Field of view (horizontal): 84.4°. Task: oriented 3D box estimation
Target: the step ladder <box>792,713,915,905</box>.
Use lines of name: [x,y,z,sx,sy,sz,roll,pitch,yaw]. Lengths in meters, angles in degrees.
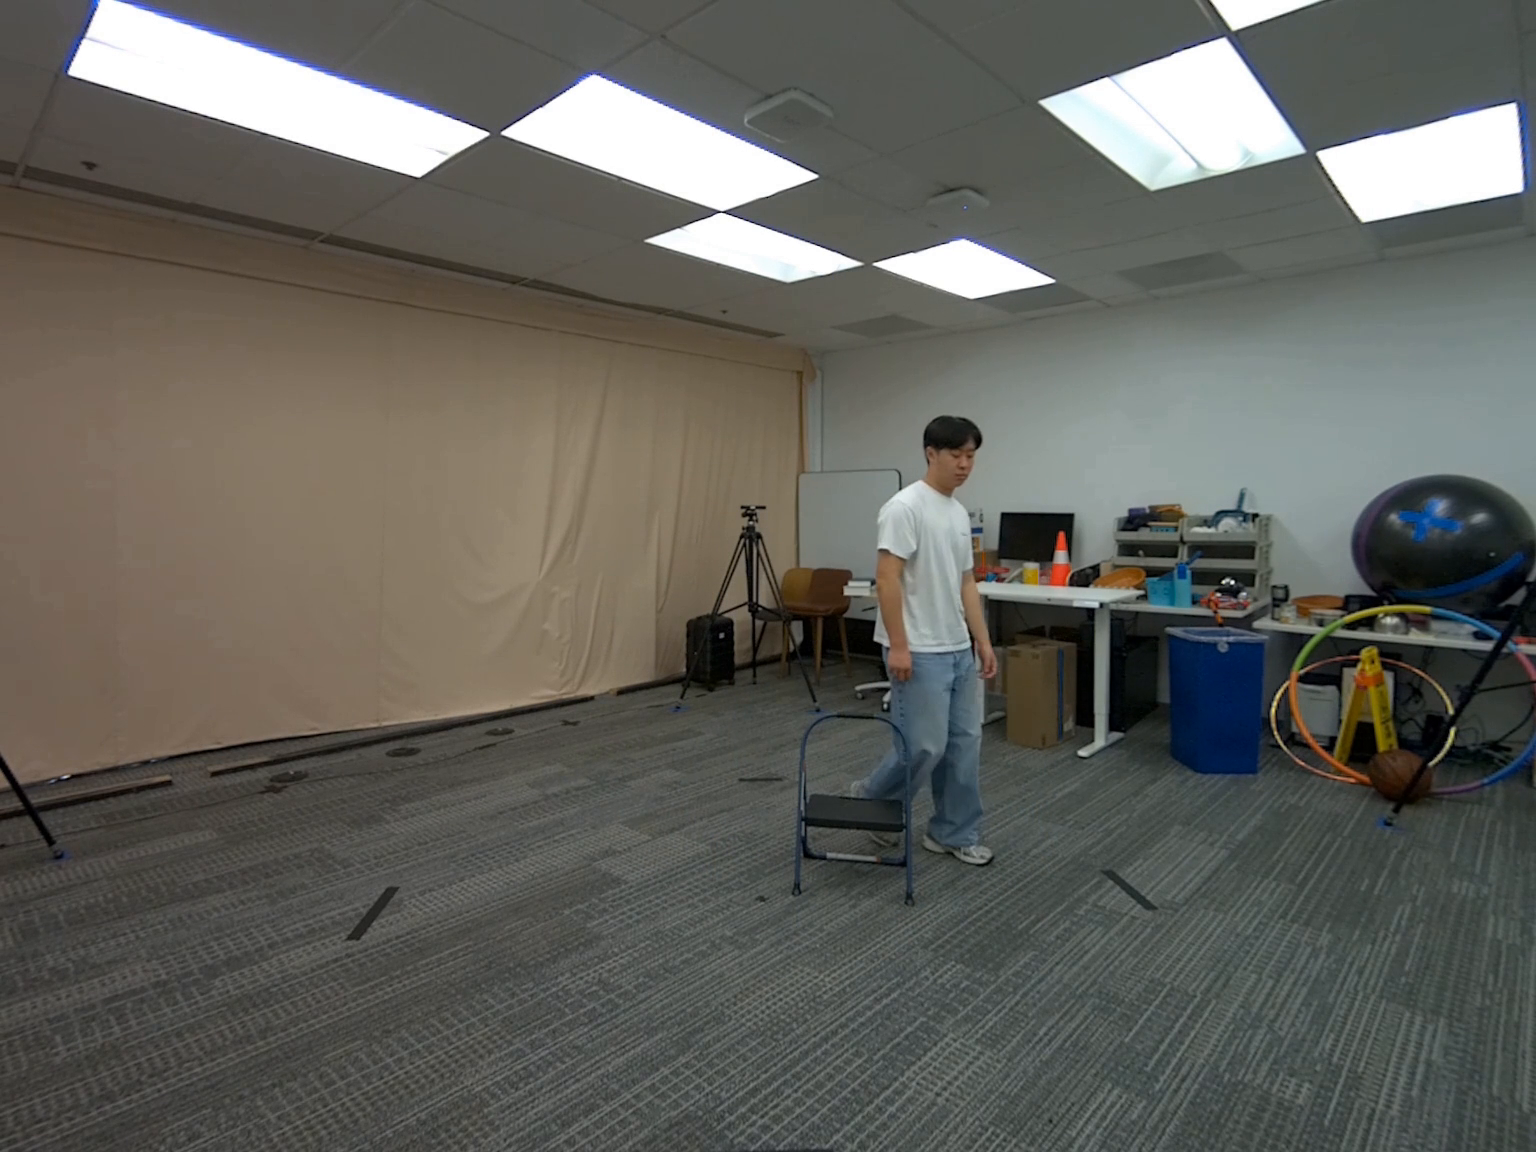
step ladder: [0.322,0.832,3.121,0.435,0.605,0.346,-1,3,9]
